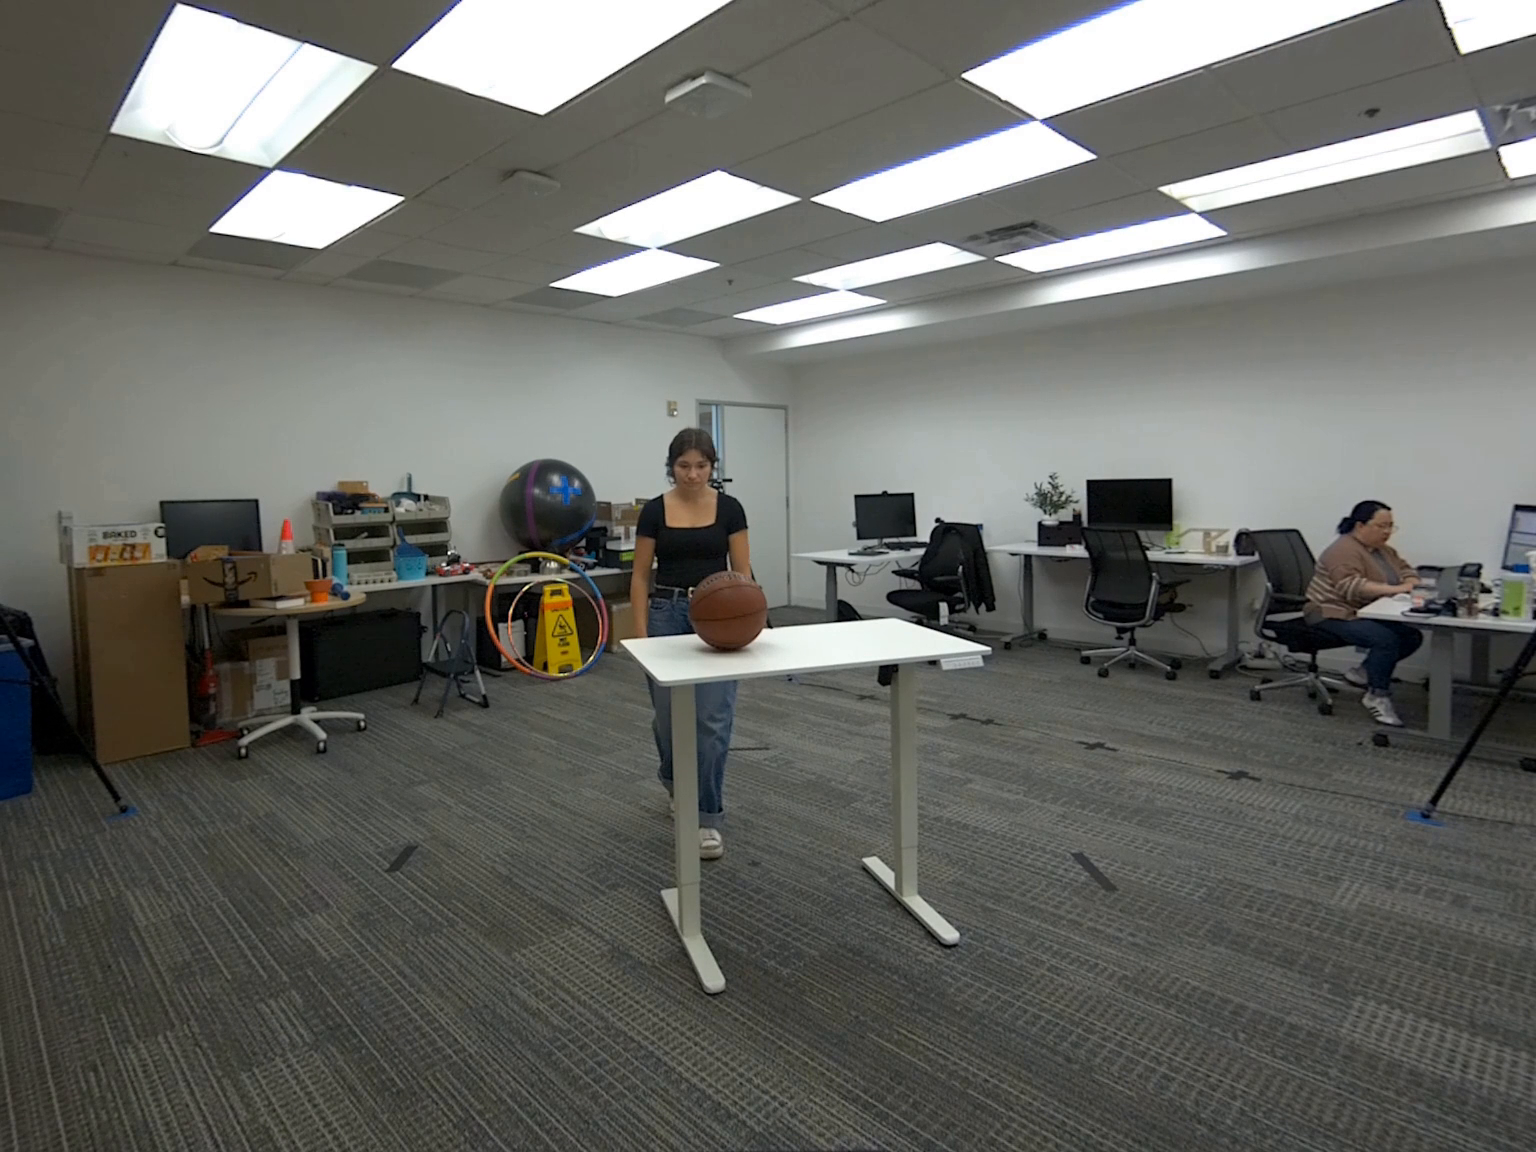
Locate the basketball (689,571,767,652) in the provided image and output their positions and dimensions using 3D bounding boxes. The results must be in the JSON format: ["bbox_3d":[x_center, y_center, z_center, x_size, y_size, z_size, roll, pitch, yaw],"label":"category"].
[{"bbox_3d":[-0.128,0.105,2.602,0.236,0.235,0.237,-1,5,-2],"label":"basketball"}]
